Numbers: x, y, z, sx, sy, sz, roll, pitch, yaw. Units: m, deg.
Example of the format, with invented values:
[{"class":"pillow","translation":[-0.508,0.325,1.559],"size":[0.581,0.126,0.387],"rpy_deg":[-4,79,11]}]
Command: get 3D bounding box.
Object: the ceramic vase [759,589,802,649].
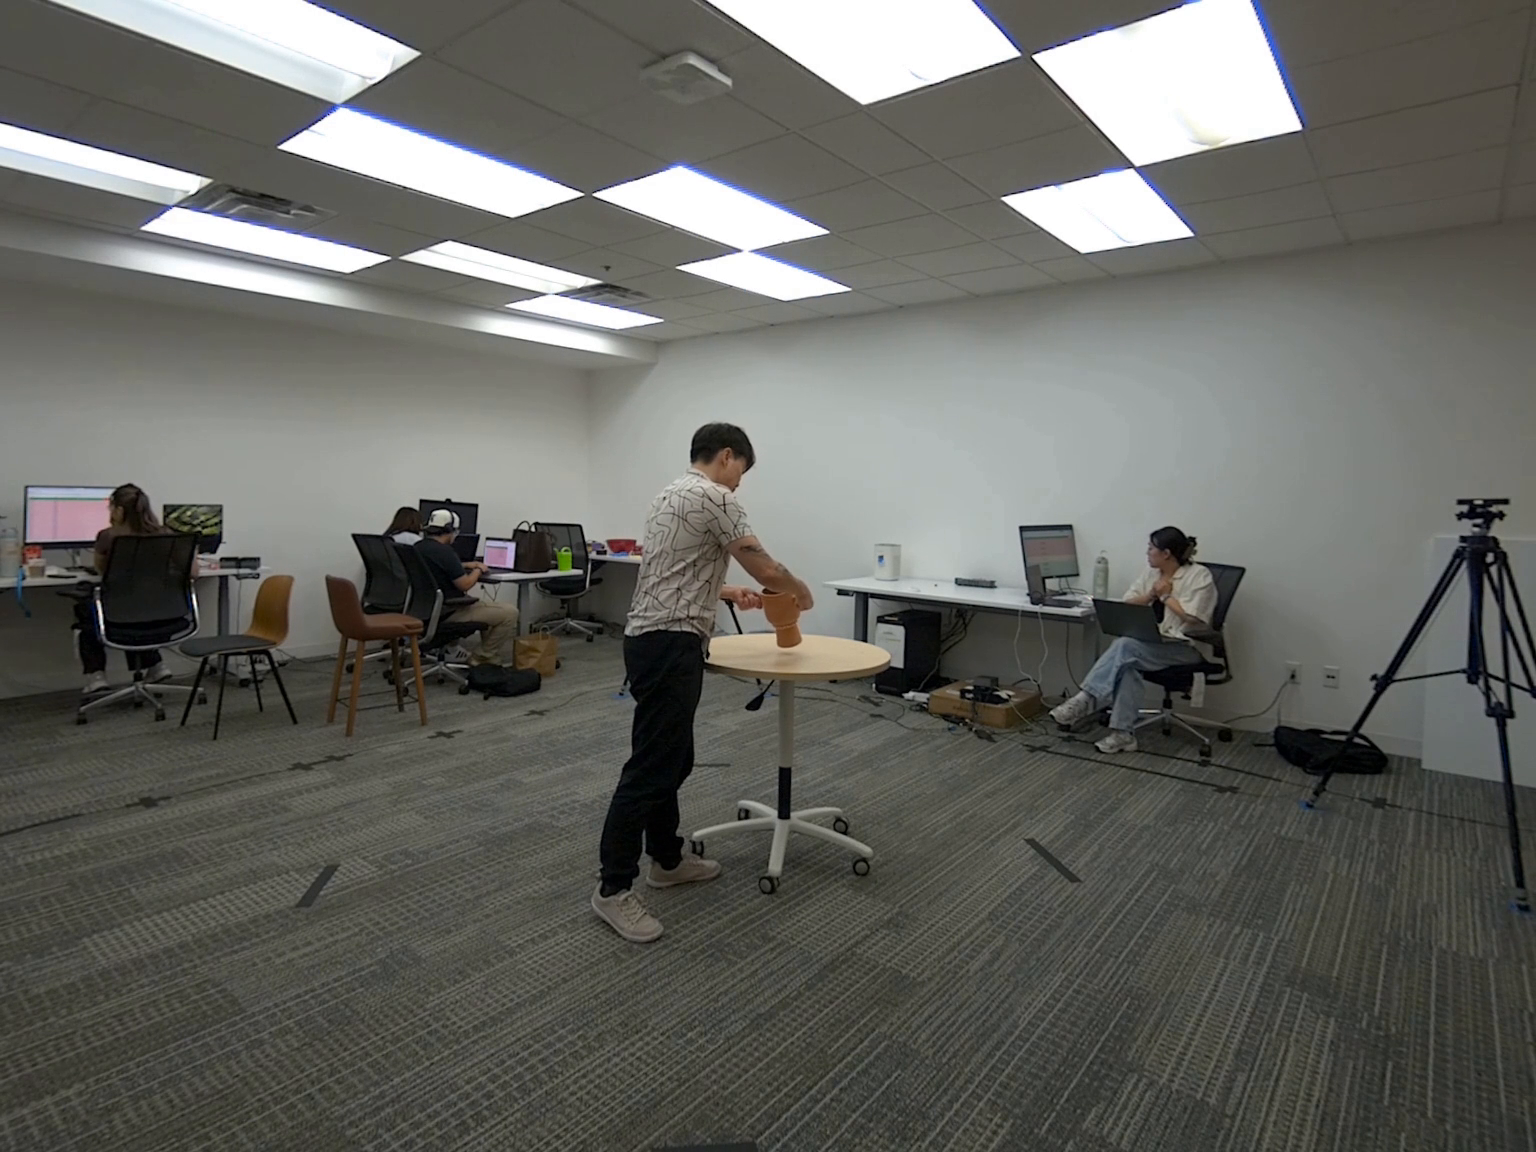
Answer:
[{"class":"ceramic vase","translation":[0.045,0.147,3.151],"size":[0.133,0.216,0.163],"rpy_deg":[-14,17,-10]}]
